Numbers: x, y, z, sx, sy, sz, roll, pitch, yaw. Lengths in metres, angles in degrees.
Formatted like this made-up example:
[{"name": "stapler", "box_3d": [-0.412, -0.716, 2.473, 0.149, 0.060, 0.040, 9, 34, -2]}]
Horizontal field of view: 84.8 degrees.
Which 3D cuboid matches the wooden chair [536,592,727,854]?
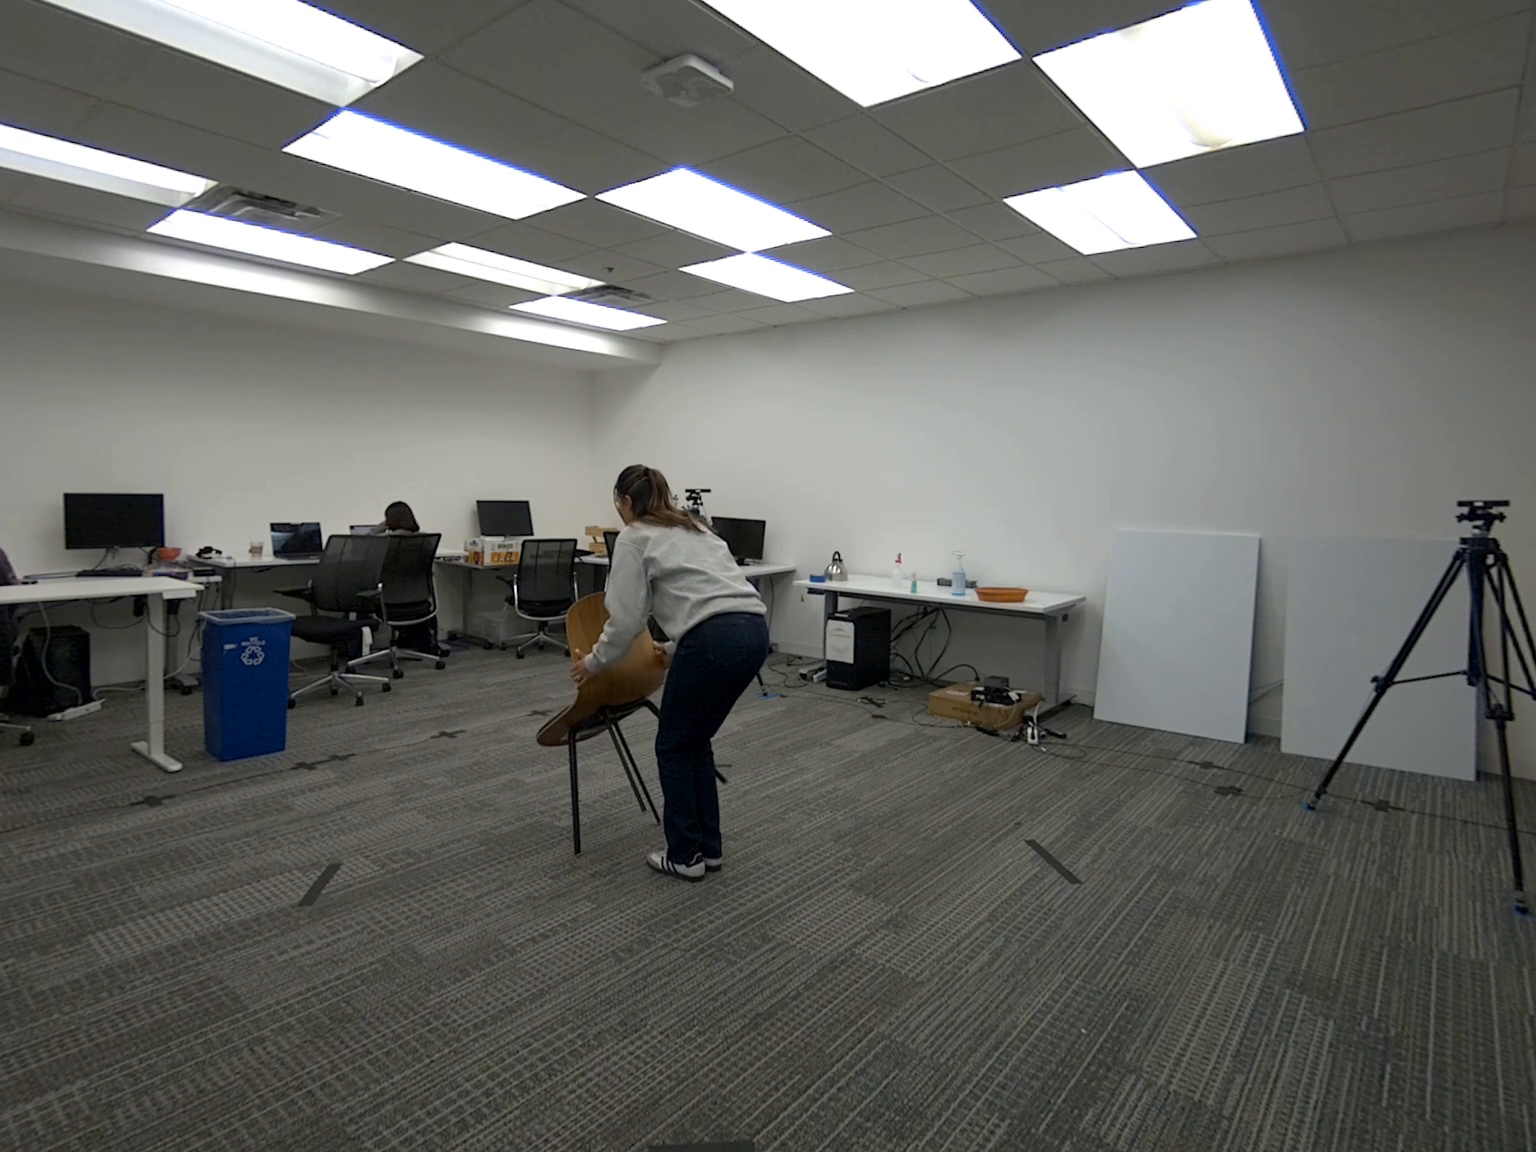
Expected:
[{"name": "wooden chair", "box_3d": [-0.651, 0.564, 3.398, 0.527, 0.897, 0.464, -36, -20, 35]}]
